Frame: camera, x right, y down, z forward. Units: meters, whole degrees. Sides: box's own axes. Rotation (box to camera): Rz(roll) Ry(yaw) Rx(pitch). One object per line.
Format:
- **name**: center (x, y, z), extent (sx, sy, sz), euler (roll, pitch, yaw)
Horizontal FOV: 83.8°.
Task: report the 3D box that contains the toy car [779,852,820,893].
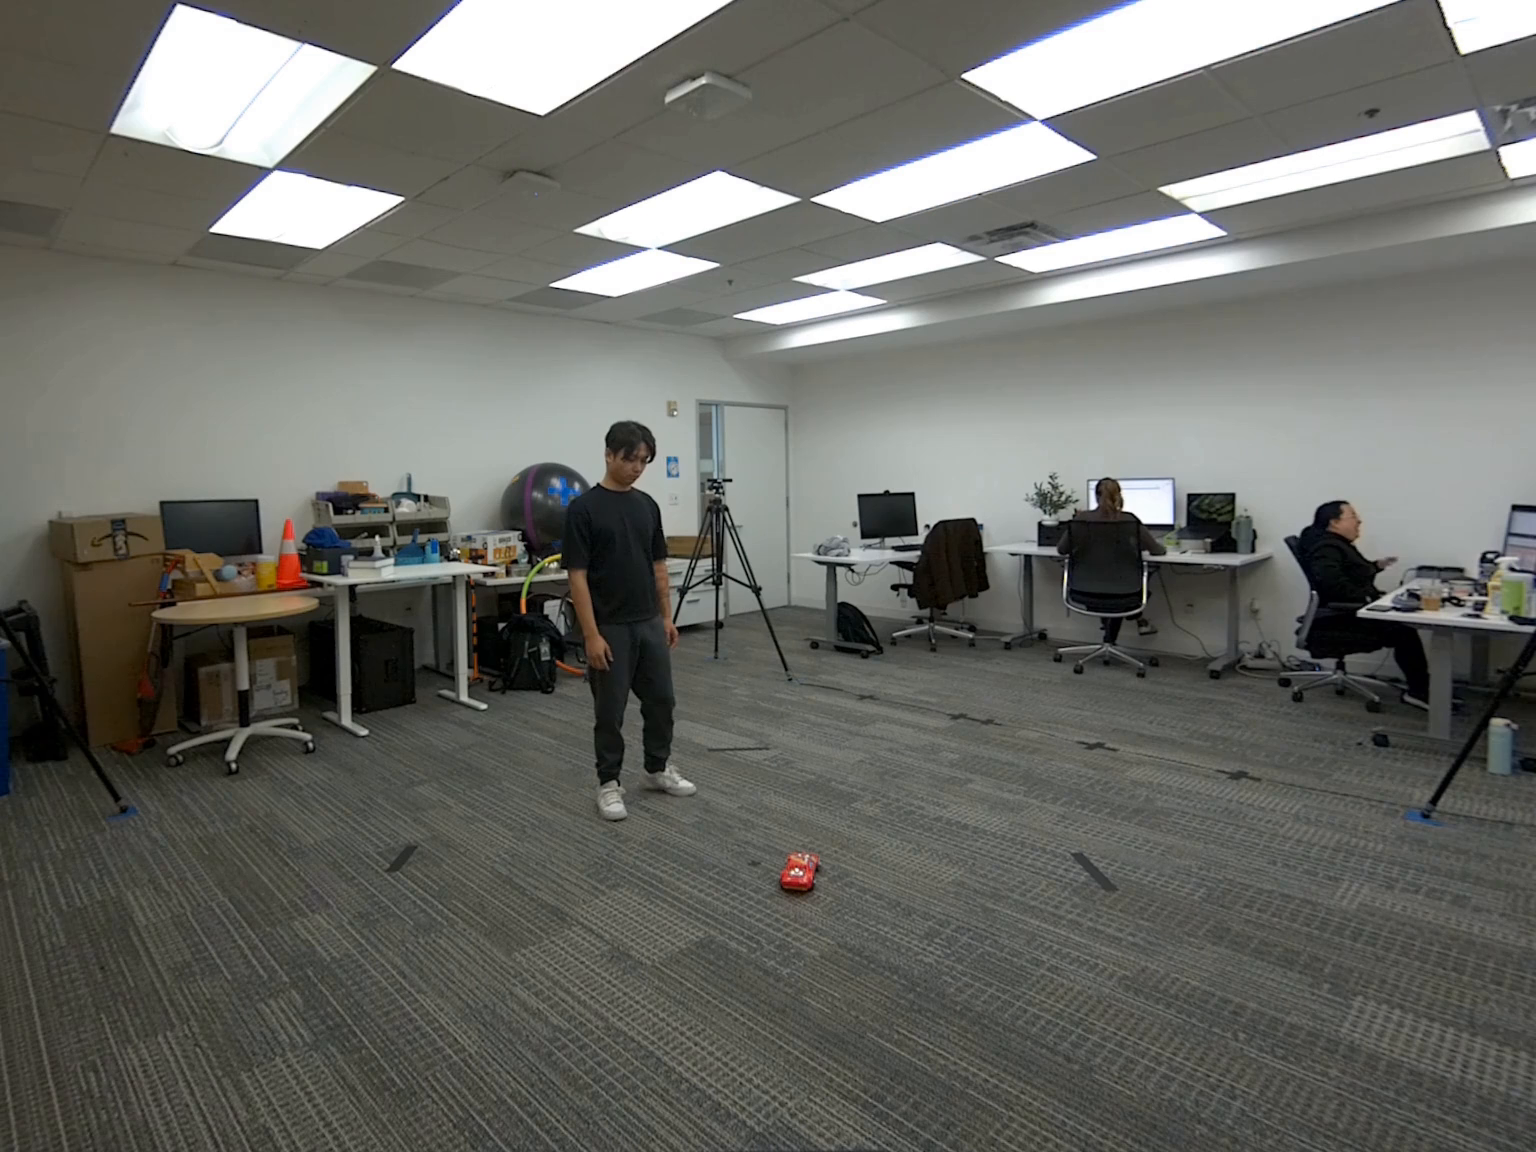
- **toy car**: center (0.111, 1.027, 2.962), extent (0.132, 0.083, 0.250), euler (1, -4, 12)
